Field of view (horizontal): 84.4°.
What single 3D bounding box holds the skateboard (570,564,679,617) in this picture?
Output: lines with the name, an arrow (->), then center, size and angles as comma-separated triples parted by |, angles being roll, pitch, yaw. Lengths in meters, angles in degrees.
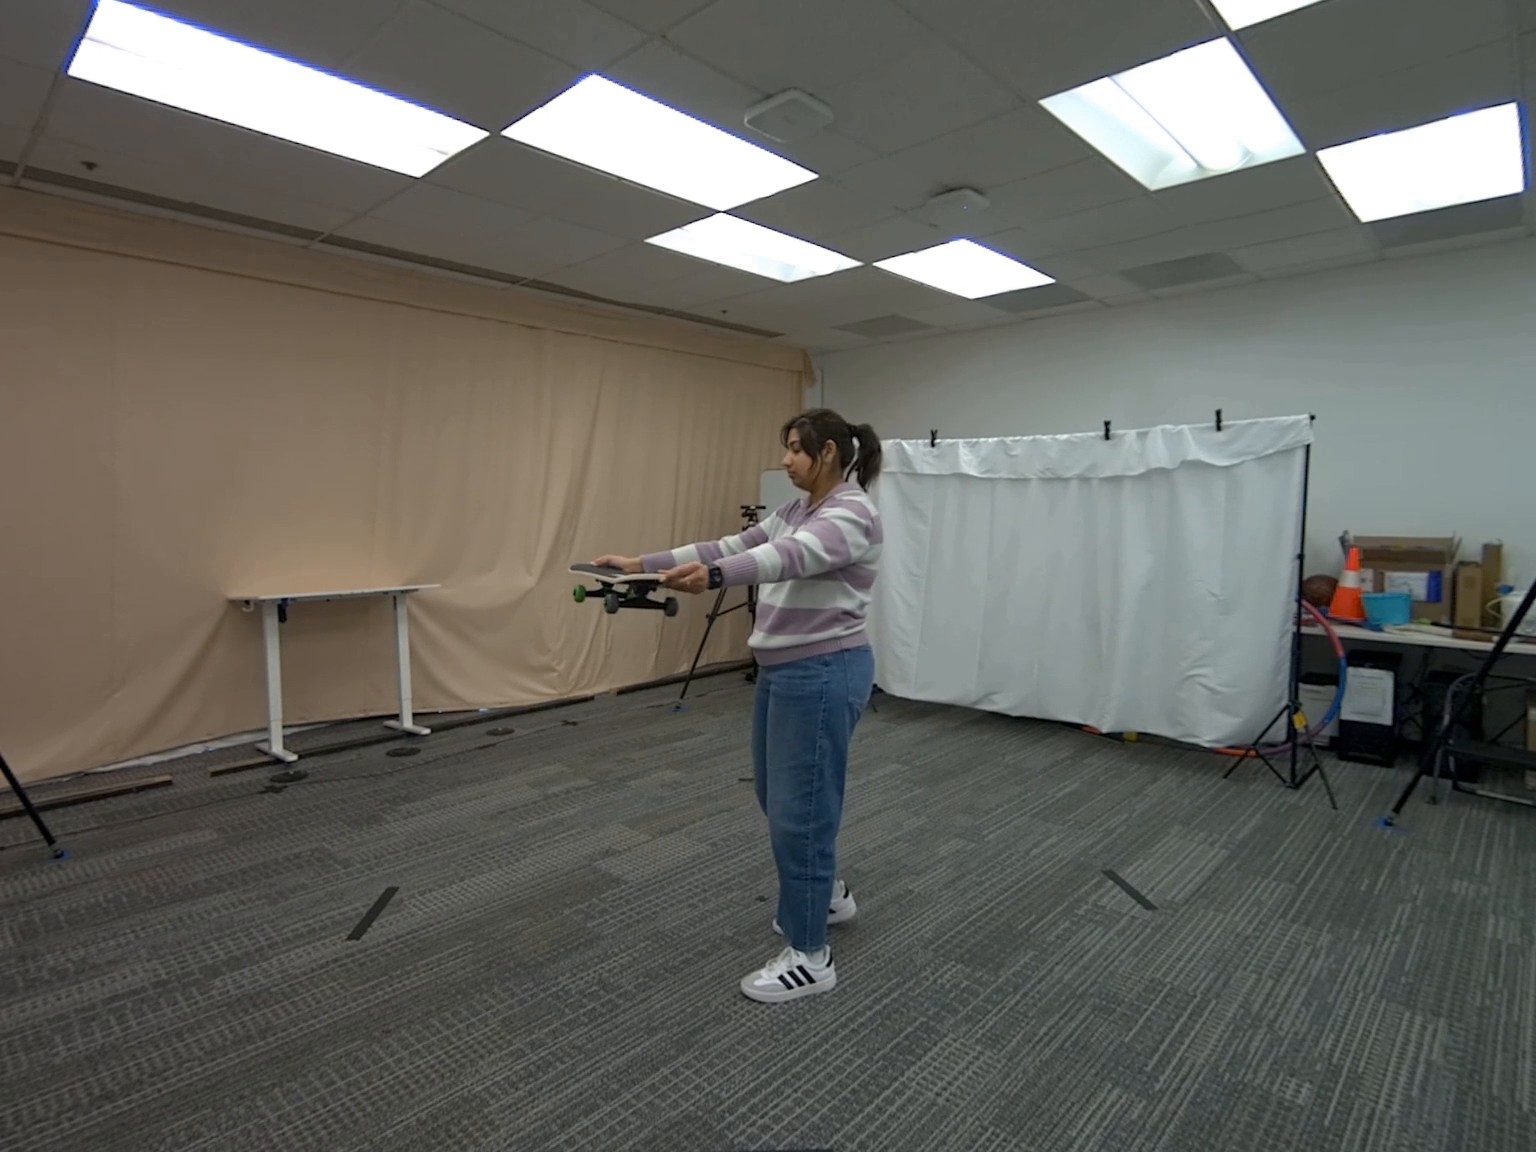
skateboard -> -0.374, 0.037, 2.279 | 0.189, 0.110, 0.803 | 3, 1, -23
